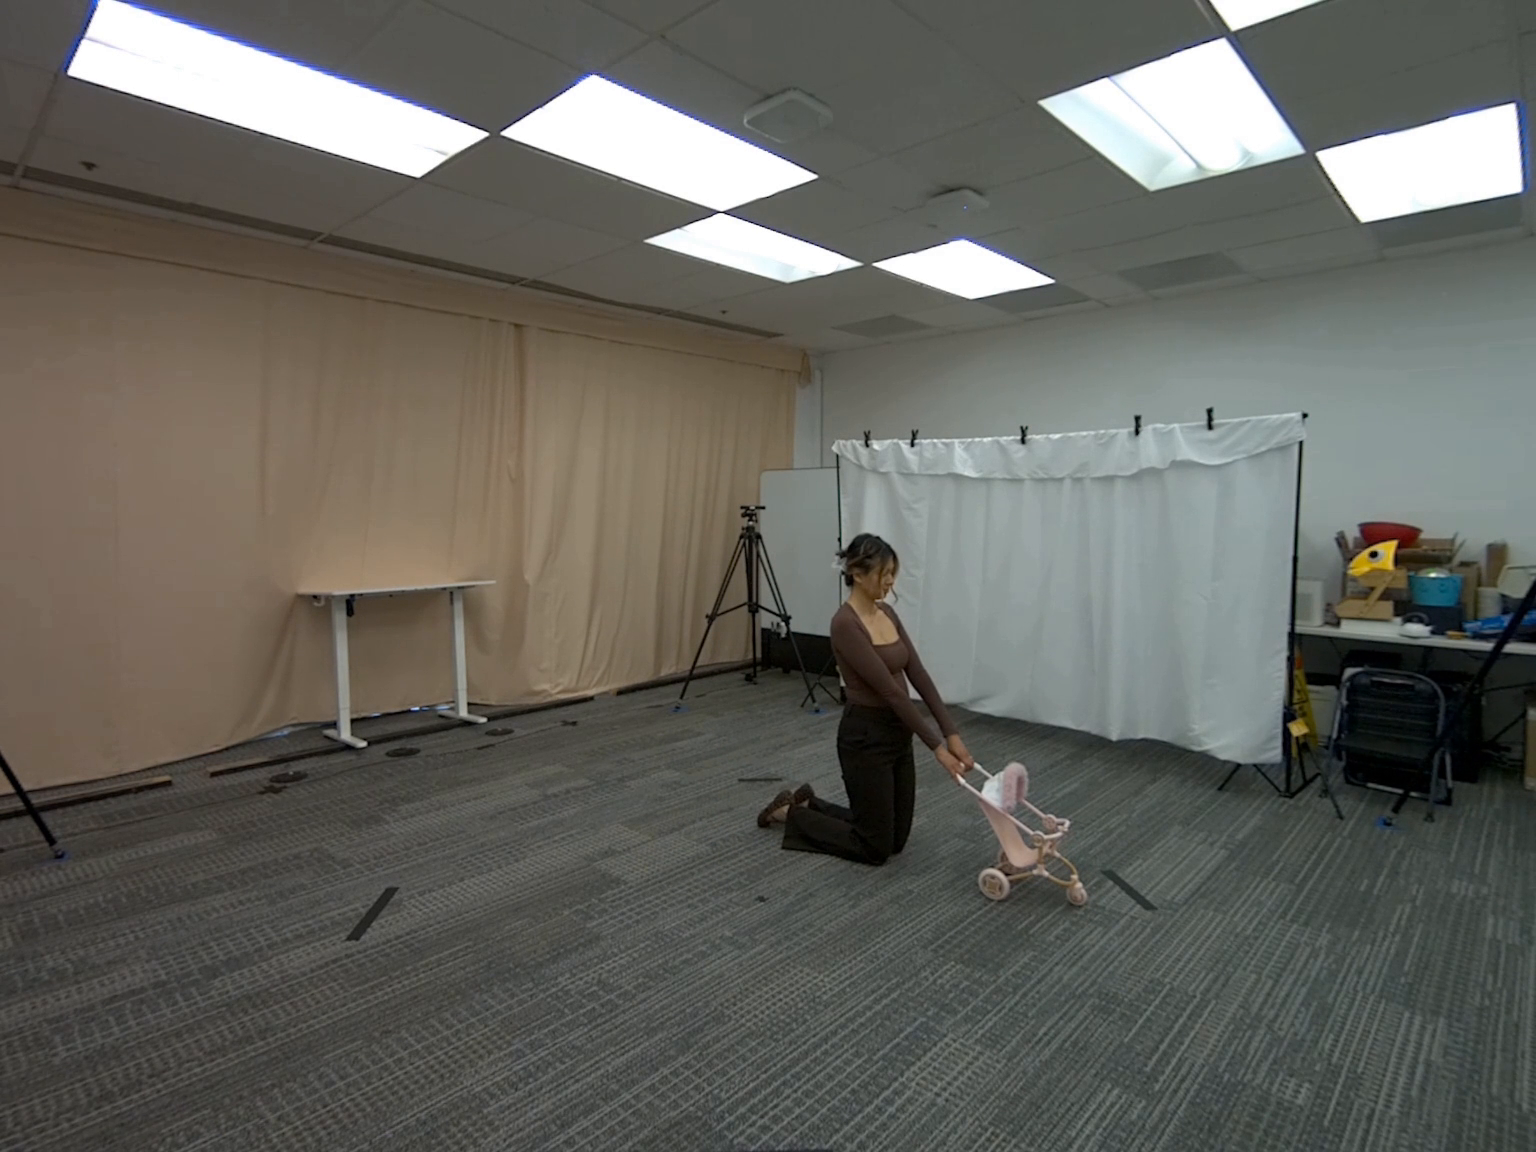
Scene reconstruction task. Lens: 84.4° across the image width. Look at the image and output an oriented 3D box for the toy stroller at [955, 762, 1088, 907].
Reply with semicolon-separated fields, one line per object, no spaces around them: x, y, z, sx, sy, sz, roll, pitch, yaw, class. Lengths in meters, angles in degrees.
0.916;0.914;3.027;0.349;0.538;0.273;-20;-9;37;toy stroller
